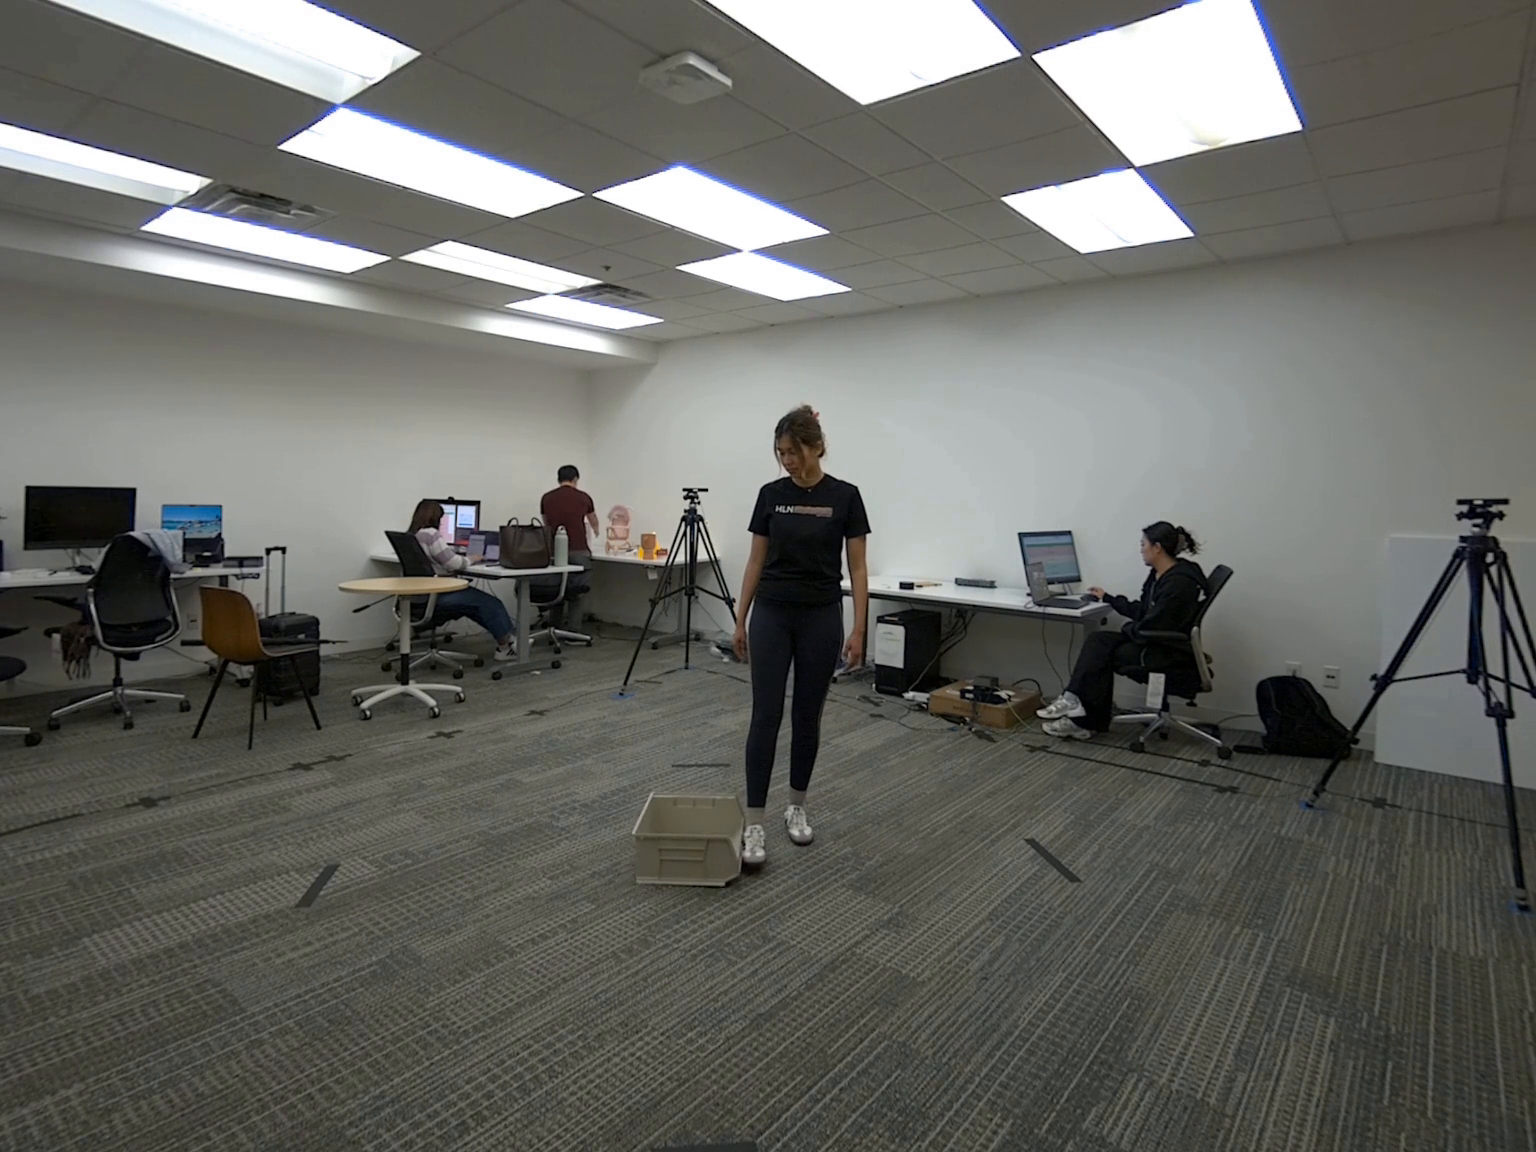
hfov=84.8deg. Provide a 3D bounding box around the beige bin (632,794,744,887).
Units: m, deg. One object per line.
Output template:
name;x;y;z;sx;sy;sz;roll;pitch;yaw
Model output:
beige bin;-0.294;0.971;3.171;0.379;0.188;0.422;-1;5;3
